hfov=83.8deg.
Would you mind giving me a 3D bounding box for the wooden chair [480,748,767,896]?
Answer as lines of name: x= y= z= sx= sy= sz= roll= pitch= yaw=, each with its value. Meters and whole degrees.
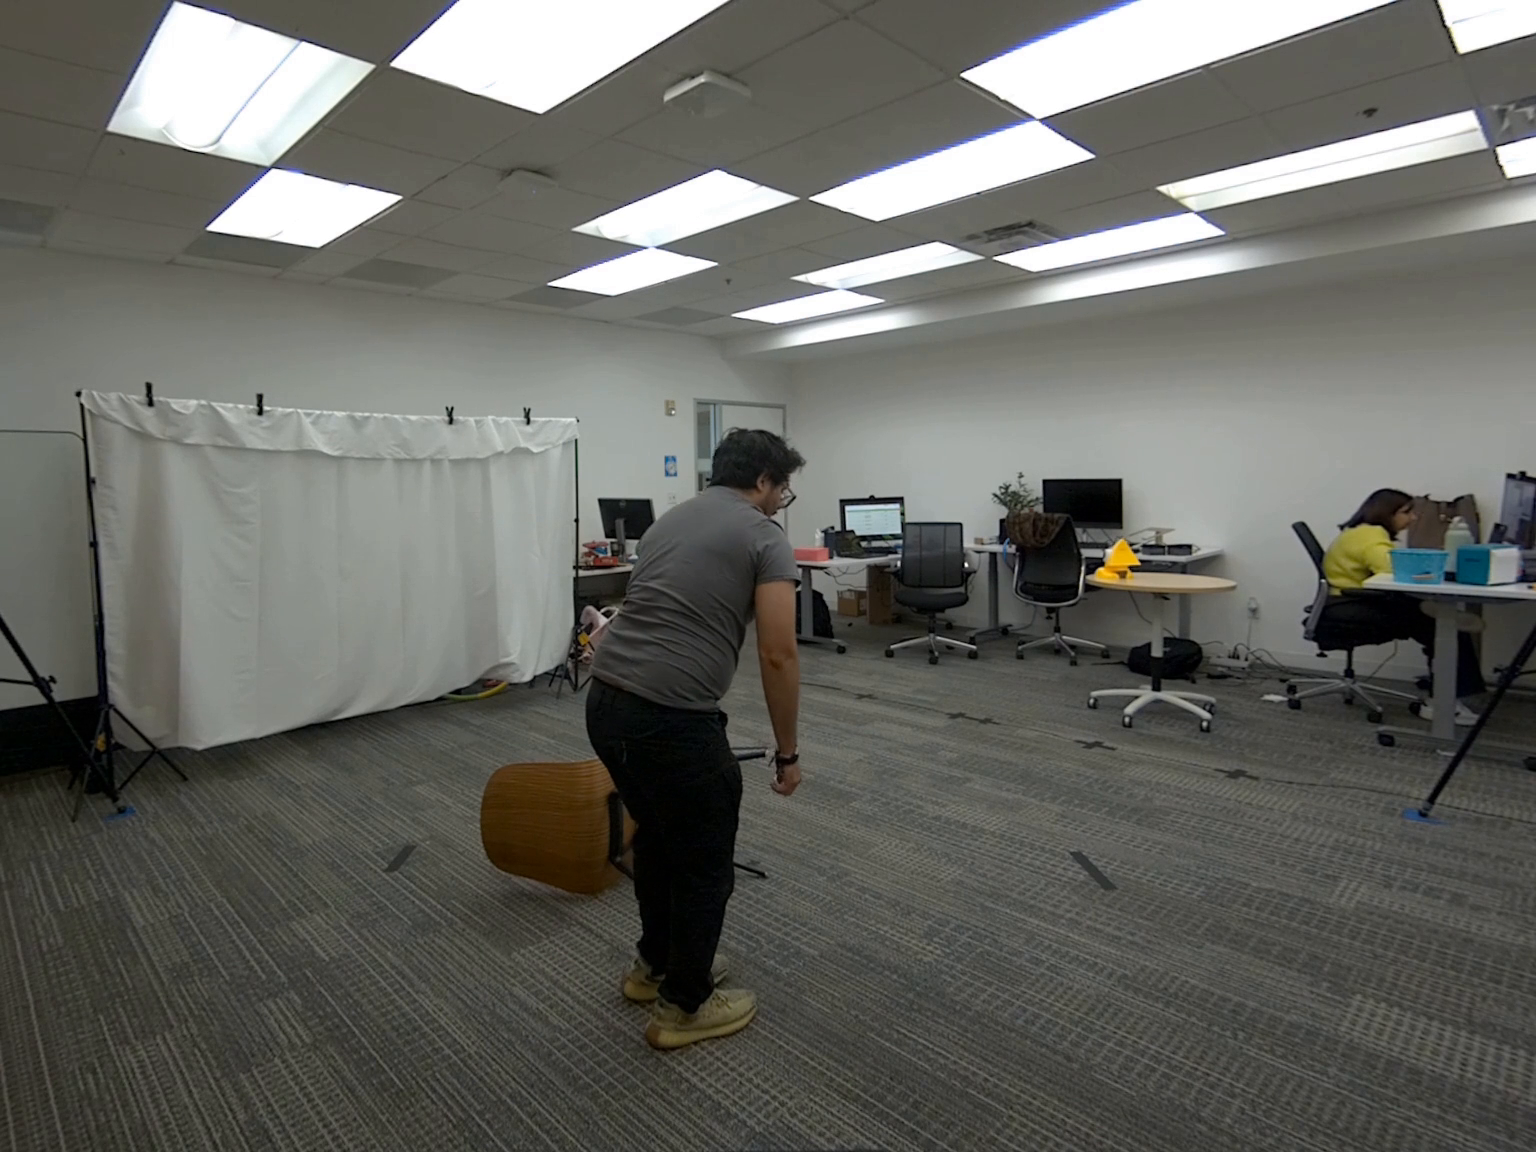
wooden chair: x=-0.482 y=0.834 z=2.970 sx=0.895 sy=0.475 sz=0.516 roll=2 pitch=7 yaw=20
